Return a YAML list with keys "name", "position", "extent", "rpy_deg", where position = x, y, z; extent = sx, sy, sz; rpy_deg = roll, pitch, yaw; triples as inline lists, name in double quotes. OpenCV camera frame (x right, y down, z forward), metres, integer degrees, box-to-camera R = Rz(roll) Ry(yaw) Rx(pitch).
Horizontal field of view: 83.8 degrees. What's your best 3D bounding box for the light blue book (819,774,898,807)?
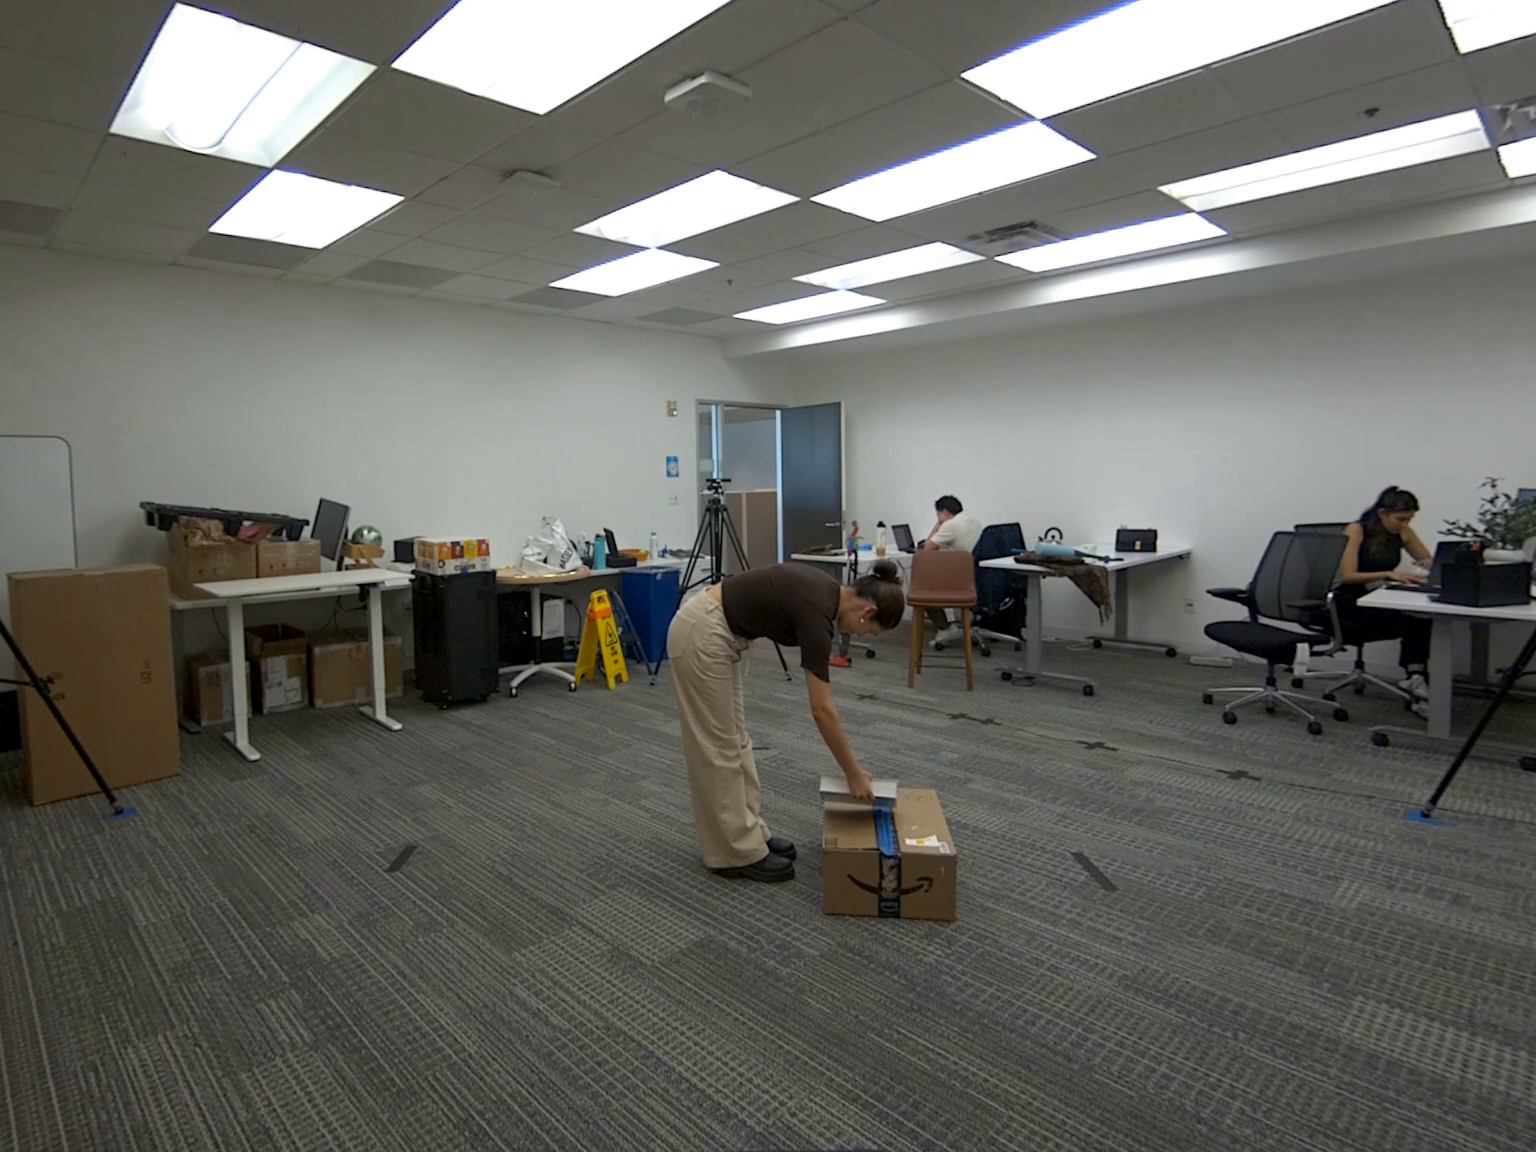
- name: "light blue book"
  position: [0.313, 0.747, 2.965]
  extent: [0.264, 0.060, 0.186]
  rpy_deg: [3, -26, 10]
